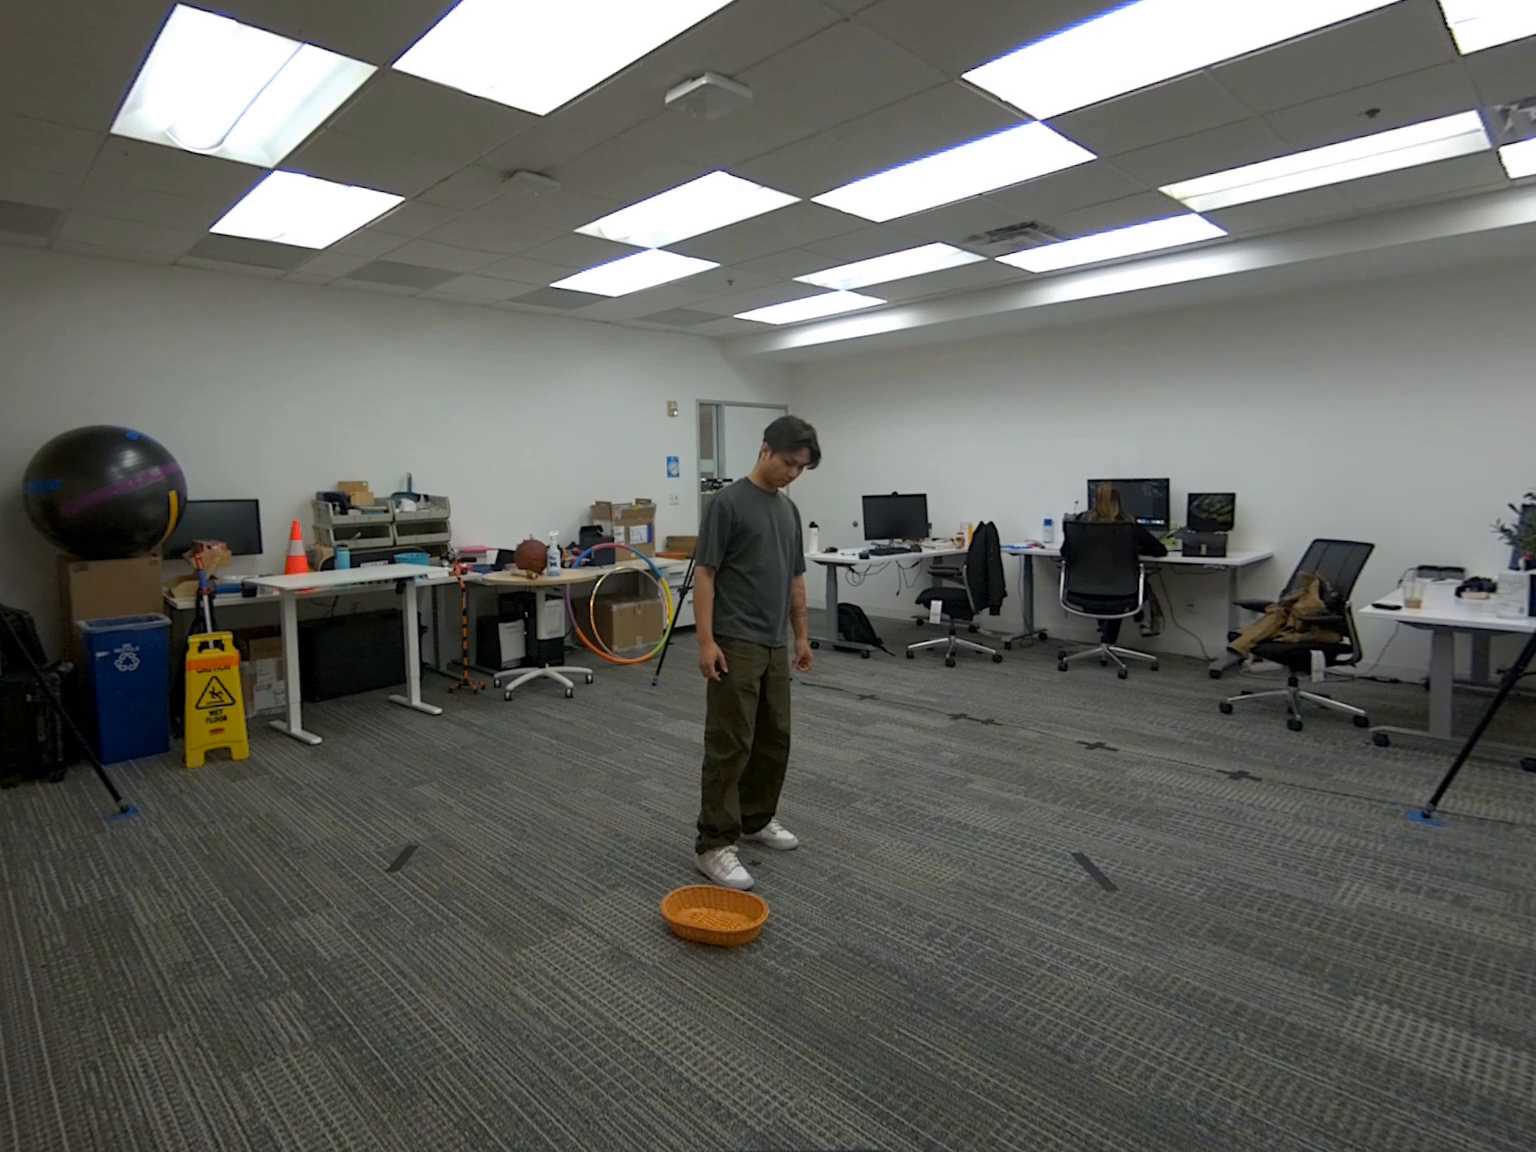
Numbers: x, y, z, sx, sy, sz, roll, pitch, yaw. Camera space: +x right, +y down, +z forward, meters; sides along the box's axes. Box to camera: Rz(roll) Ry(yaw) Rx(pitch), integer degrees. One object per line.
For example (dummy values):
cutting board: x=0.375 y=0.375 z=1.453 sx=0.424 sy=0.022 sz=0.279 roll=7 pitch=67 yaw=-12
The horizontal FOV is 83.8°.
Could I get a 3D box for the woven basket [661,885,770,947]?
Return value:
woven basket: x=-0.164 y=1.063 z=2.662 sx=0.358 sy=0.073 sz=0.248 roll=2 pitch=7 yaw=24
